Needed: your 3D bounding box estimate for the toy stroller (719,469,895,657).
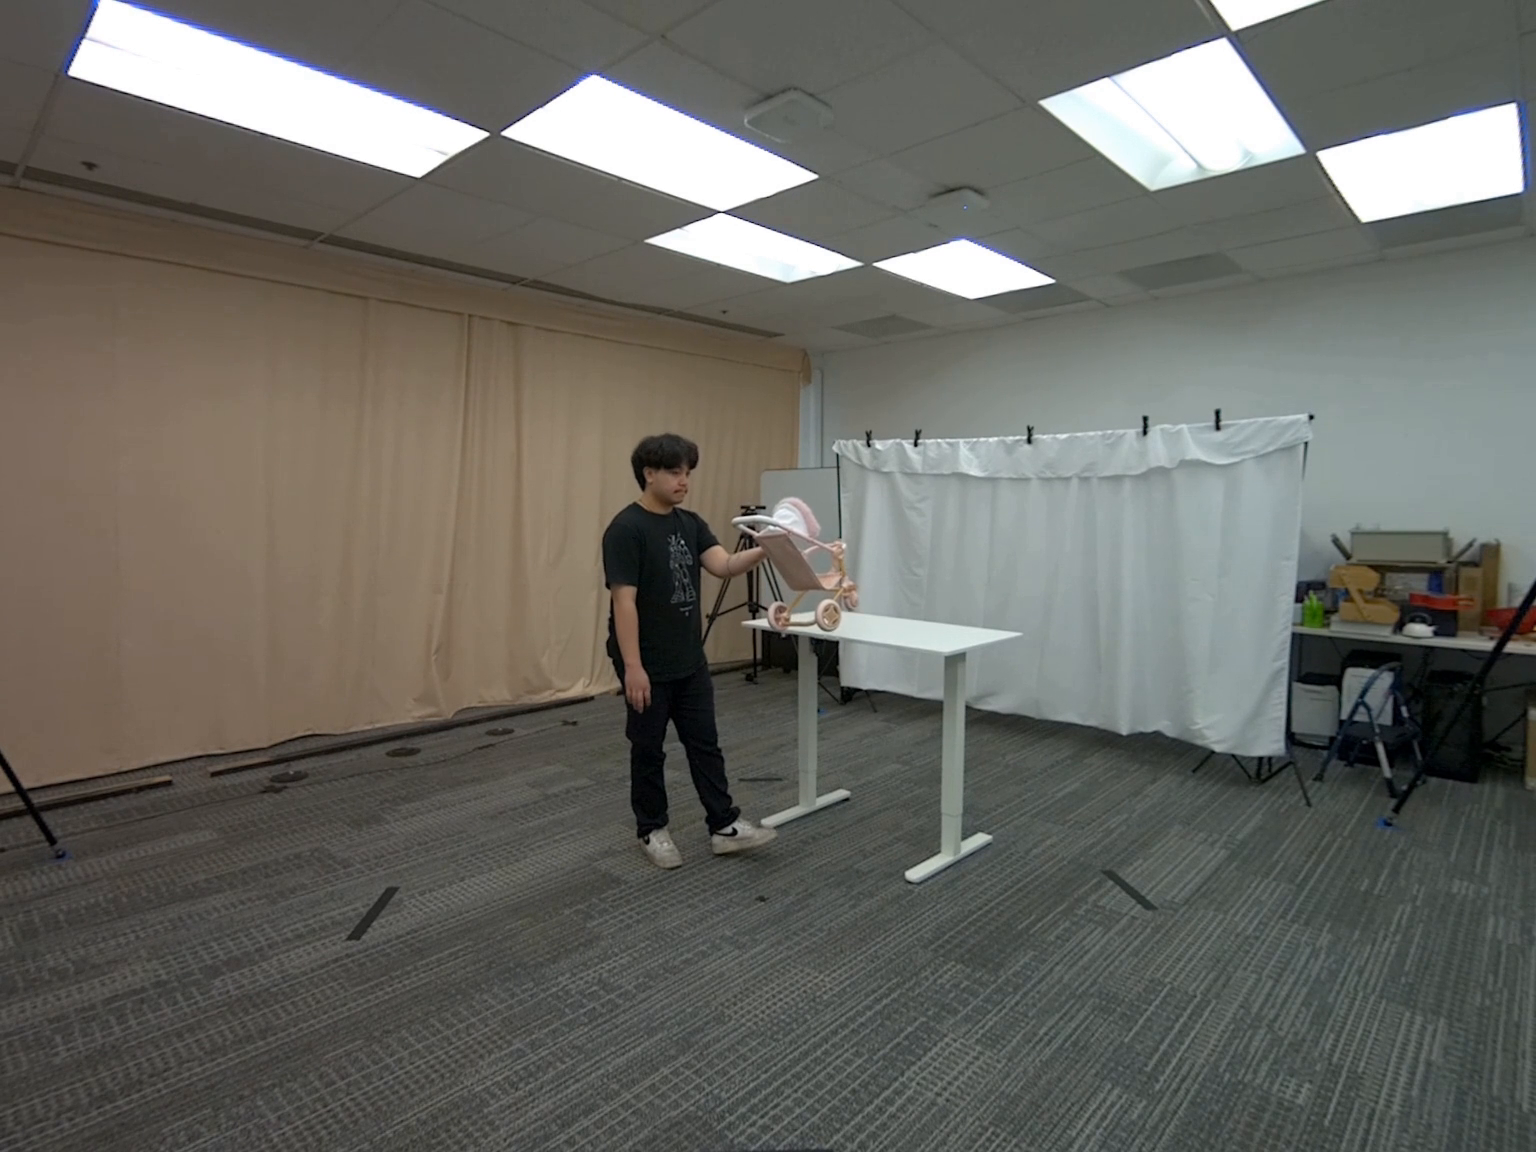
[{"bbox_3d":[0.139,-0.044,2.982,0.336,0.528,0.289,-33,15,-32],"label":"toy stroller"}]
